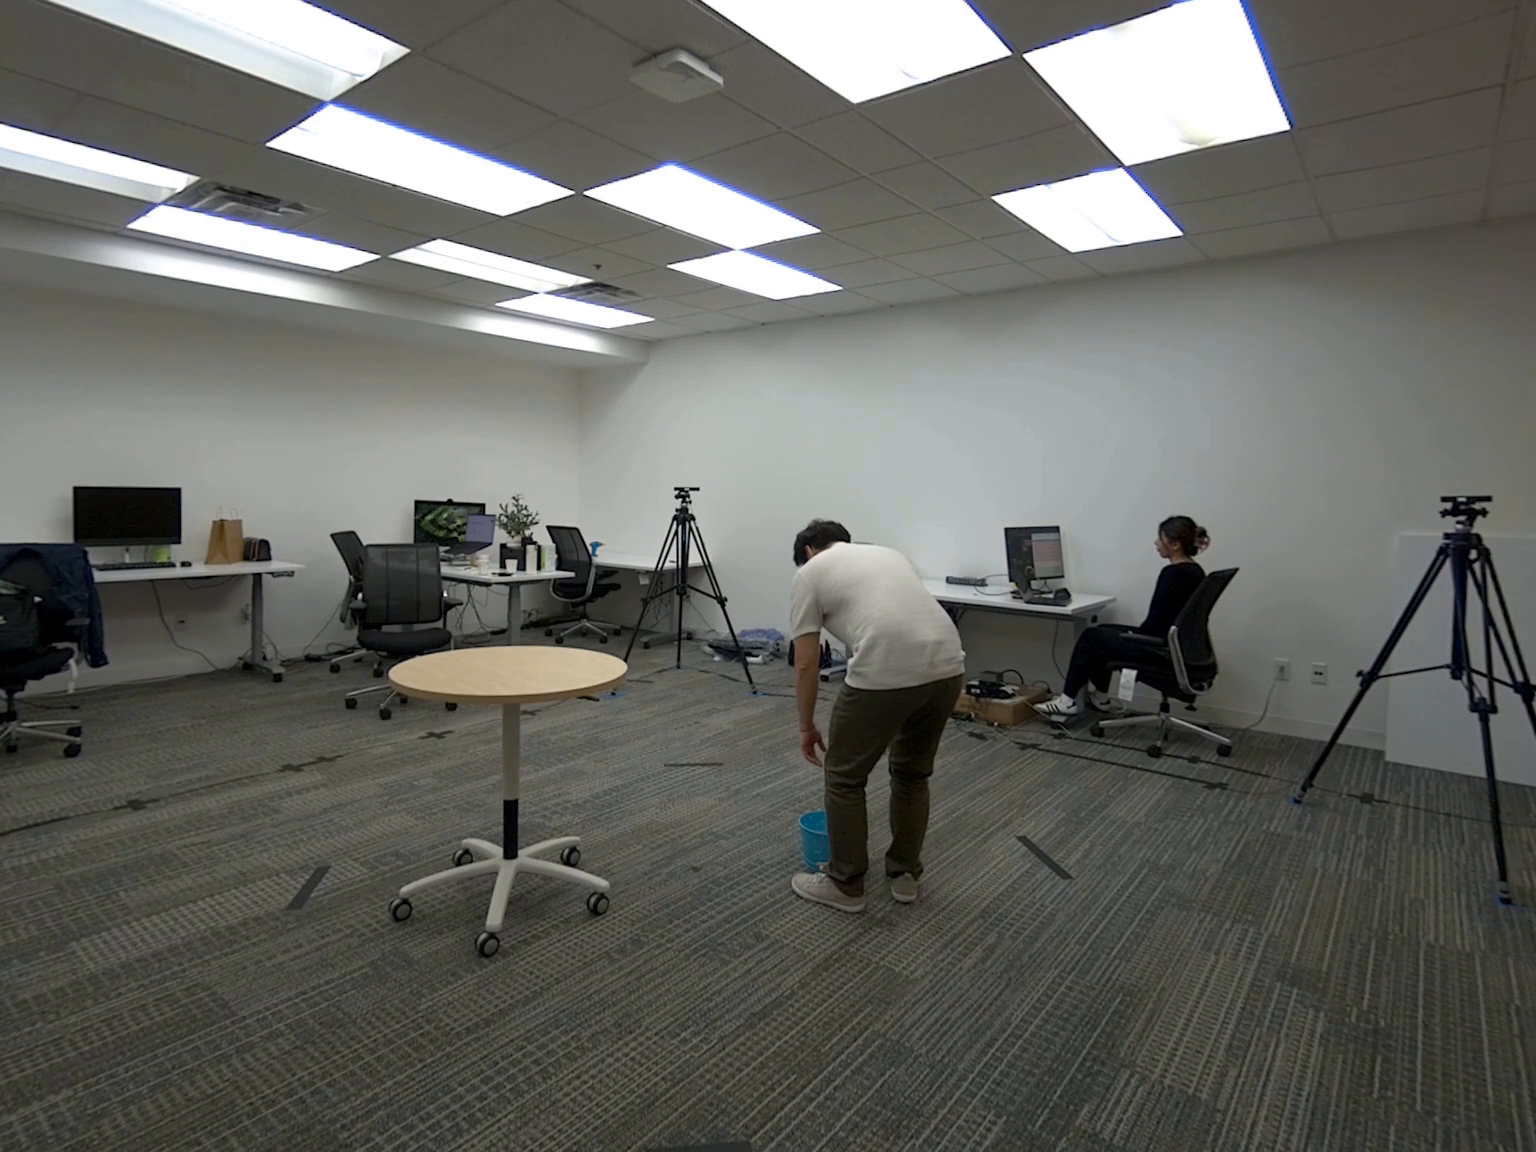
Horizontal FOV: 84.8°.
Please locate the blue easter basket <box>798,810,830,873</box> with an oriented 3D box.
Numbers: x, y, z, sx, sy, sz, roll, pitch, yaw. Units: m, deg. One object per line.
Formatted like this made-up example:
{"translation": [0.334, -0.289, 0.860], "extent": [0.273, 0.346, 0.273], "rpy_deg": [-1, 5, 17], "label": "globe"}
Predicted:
{"translation": [0.215, 0.990, 3.184], "extent": [0.243, 0.155, 0.245], "rpy_deg": [1, 4, -2], "label": "blue easter basket"}
